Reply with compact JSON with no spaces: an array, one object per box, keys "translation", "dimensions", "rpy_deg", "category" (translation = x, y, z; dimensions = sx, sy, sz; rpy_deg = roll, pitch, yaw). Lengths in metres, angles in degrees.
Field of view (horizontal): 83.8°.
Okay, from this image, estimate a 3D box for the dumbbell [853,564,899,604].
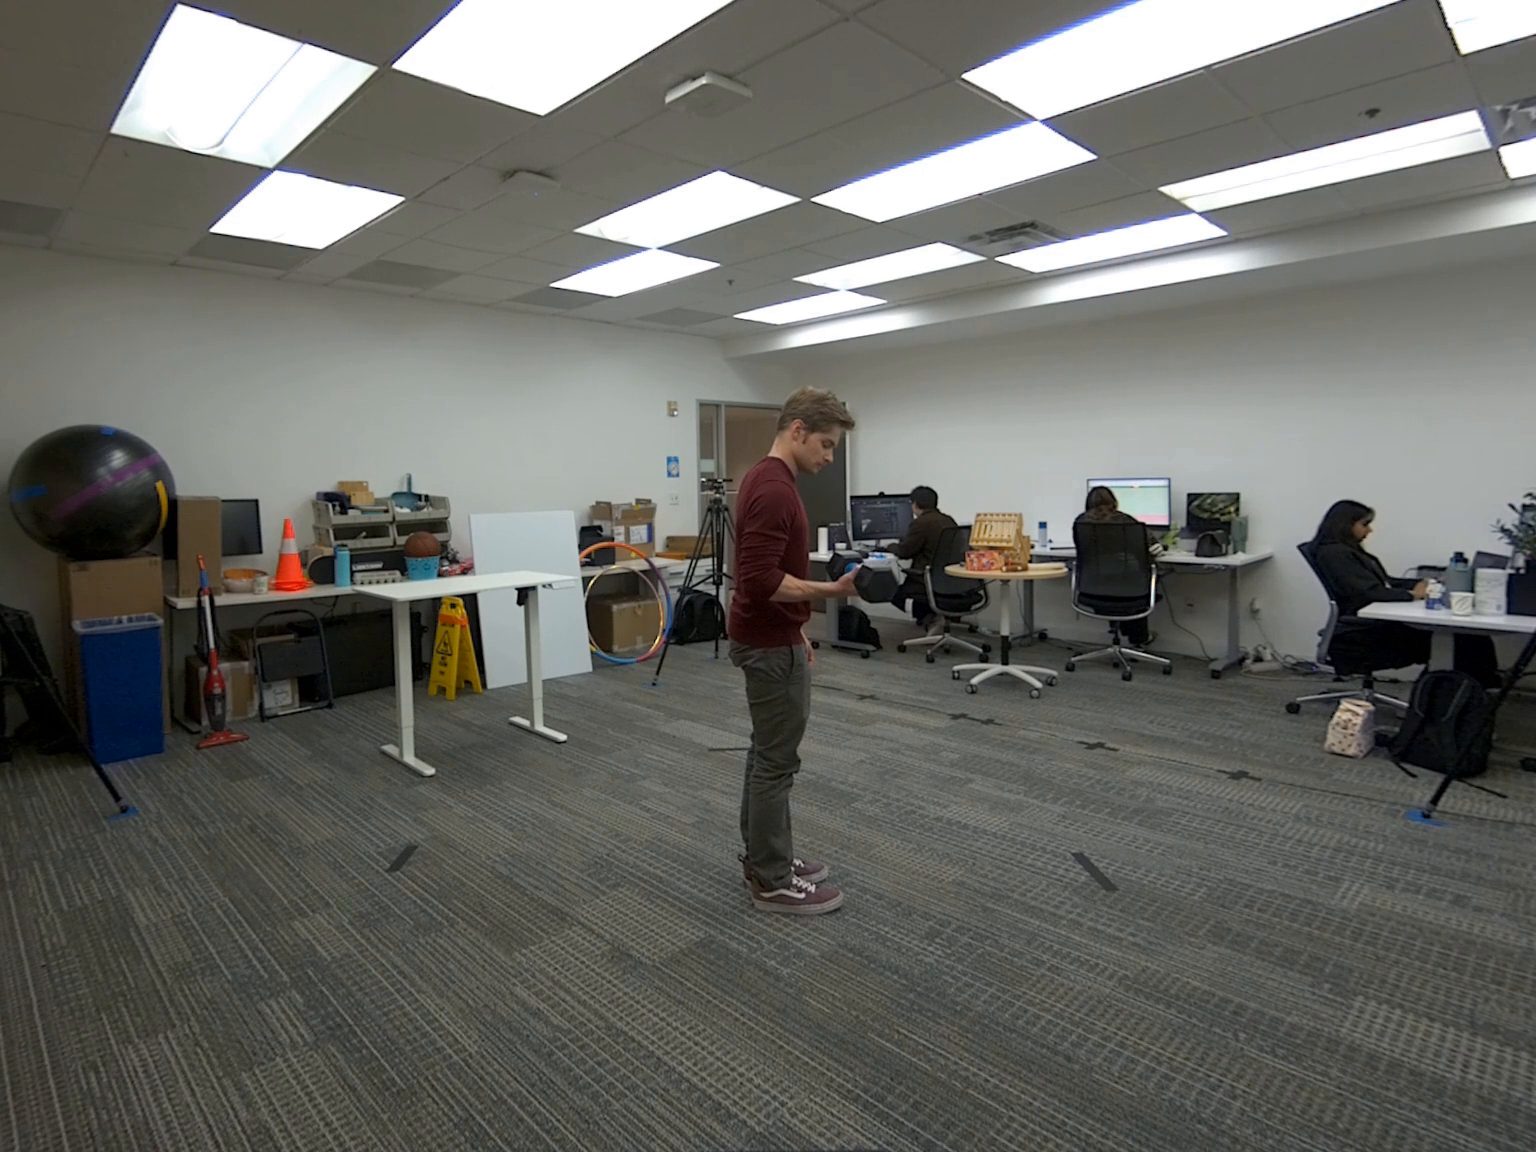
[{"translation":[0.283,0.001,2.585],"dimensions":[0.121,0.108,0.300],"rpy_deg":[-3,10,-19],"category":"dumbbell"}]
